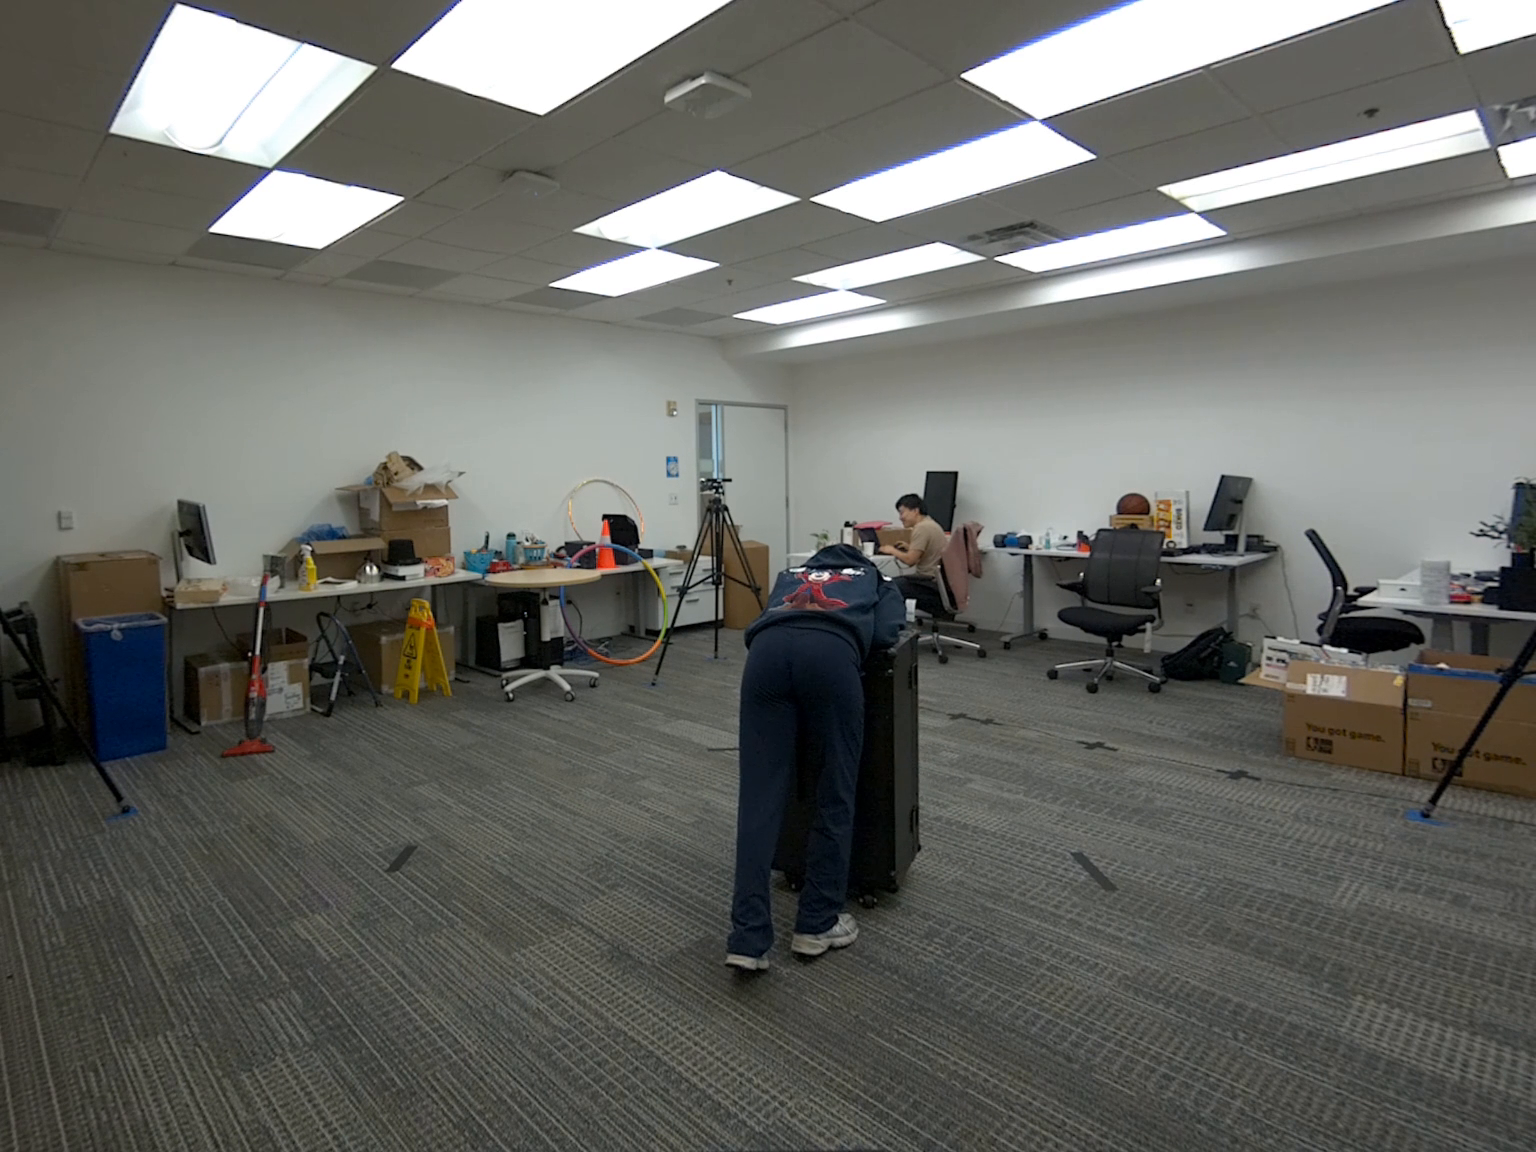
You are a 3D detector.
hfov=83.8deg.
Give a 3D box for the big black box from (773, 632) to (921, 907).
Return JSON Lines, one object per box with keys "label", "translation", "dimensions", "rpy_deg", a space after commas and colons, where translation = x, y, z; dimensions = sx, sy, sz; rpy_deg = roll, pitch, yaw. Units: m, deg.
{"label": "big black box", "translation": [0.247, 0.635, 2.942], "dimensions": [0.533, 0.858, 0.389], "rpy_deg": [1, 5, 24]}
